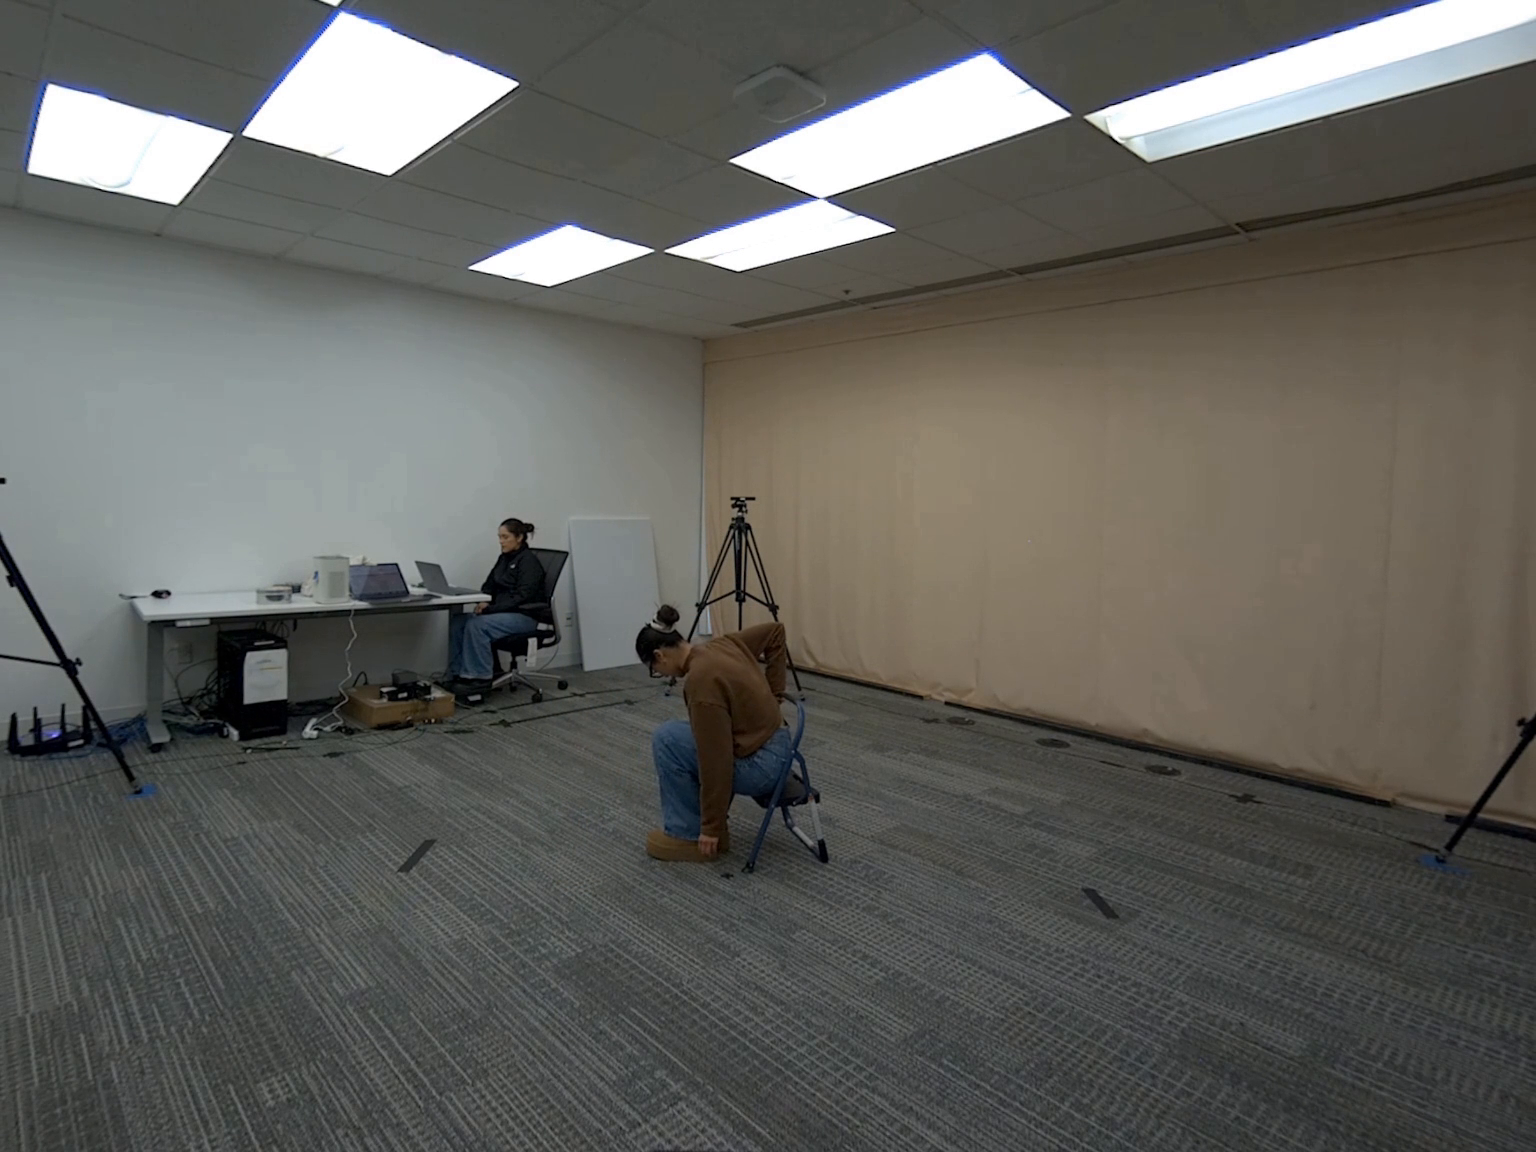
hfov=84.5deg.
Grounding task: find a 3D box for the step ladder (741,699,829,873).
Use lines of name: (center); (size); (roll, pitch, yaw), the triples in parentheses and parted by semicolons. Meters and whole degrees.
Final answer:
step ladder: (0.007, 0.790, 3.367); (0.344, 0.605, 0.438); (0, 3, -19)
